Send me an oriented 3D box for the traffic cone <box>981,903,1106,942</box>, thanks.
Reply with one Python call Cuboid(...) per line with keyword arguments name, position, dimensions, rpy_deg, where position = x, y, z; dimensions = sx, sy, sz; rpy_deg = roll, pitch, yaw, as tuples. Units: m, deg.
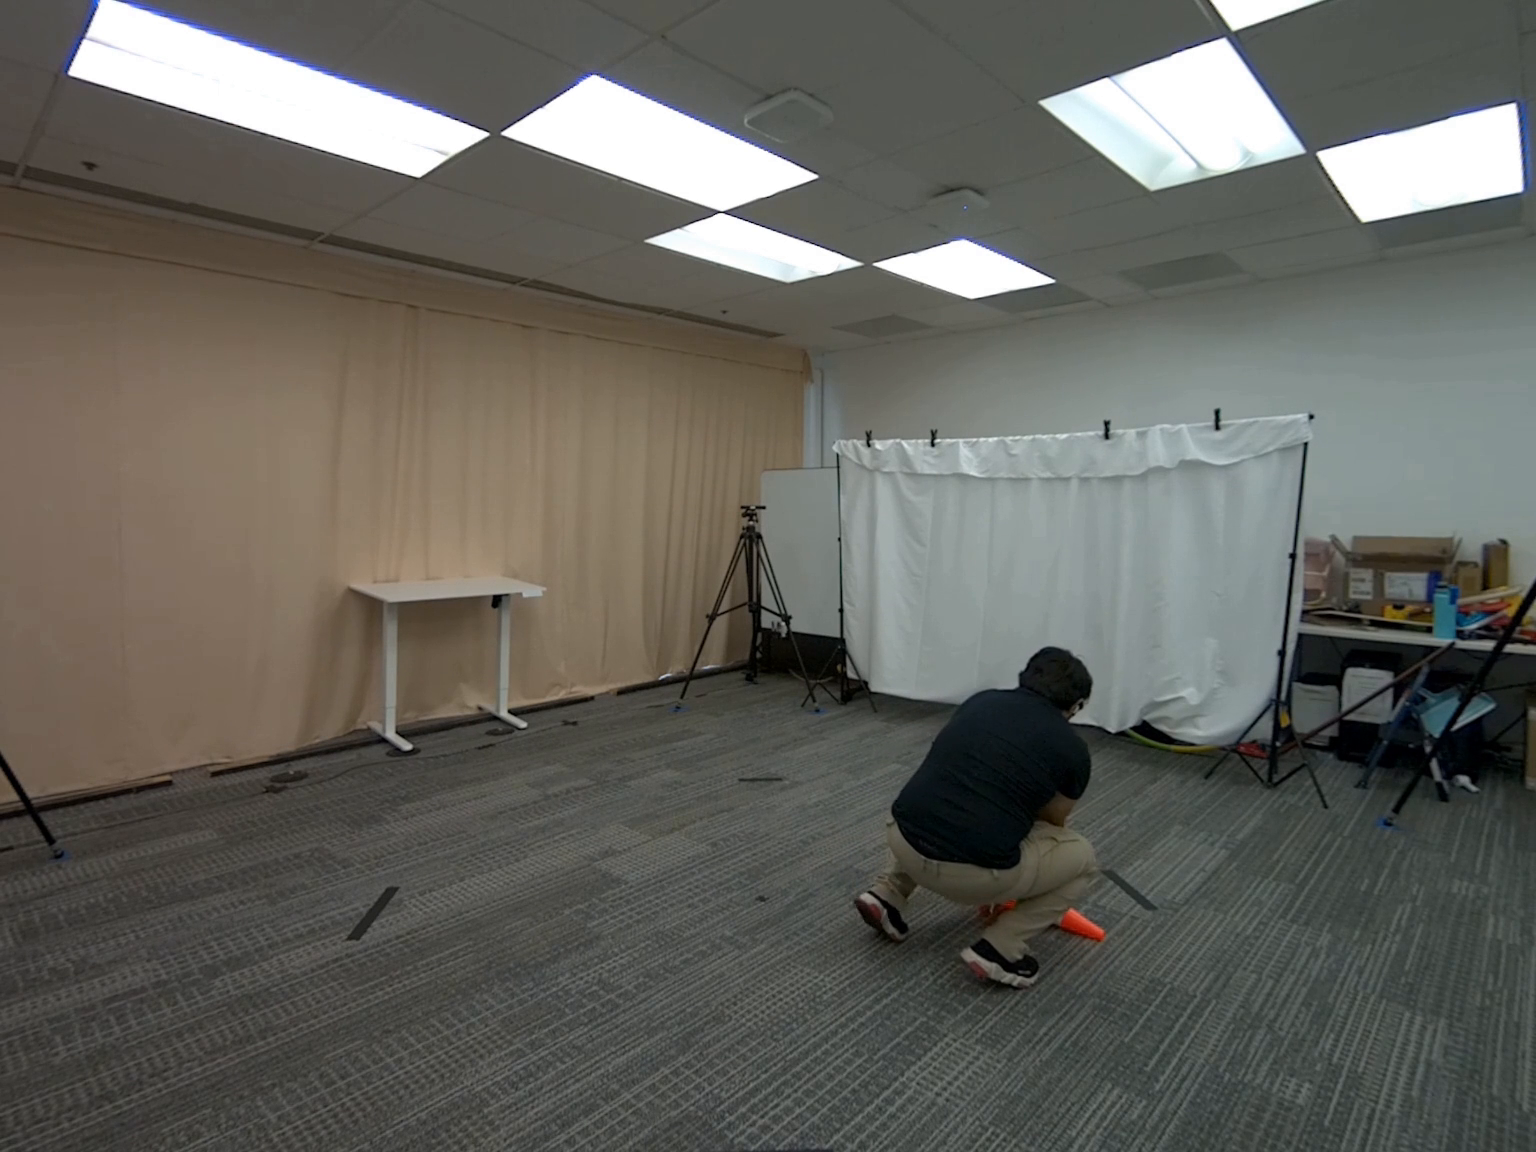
Cuboid(name="traffic cone", position=(0.942, 1.095, 2.811), dimensions=(0.397, 0.204, 0.197), rpy_deg=(18, 12, 38))
